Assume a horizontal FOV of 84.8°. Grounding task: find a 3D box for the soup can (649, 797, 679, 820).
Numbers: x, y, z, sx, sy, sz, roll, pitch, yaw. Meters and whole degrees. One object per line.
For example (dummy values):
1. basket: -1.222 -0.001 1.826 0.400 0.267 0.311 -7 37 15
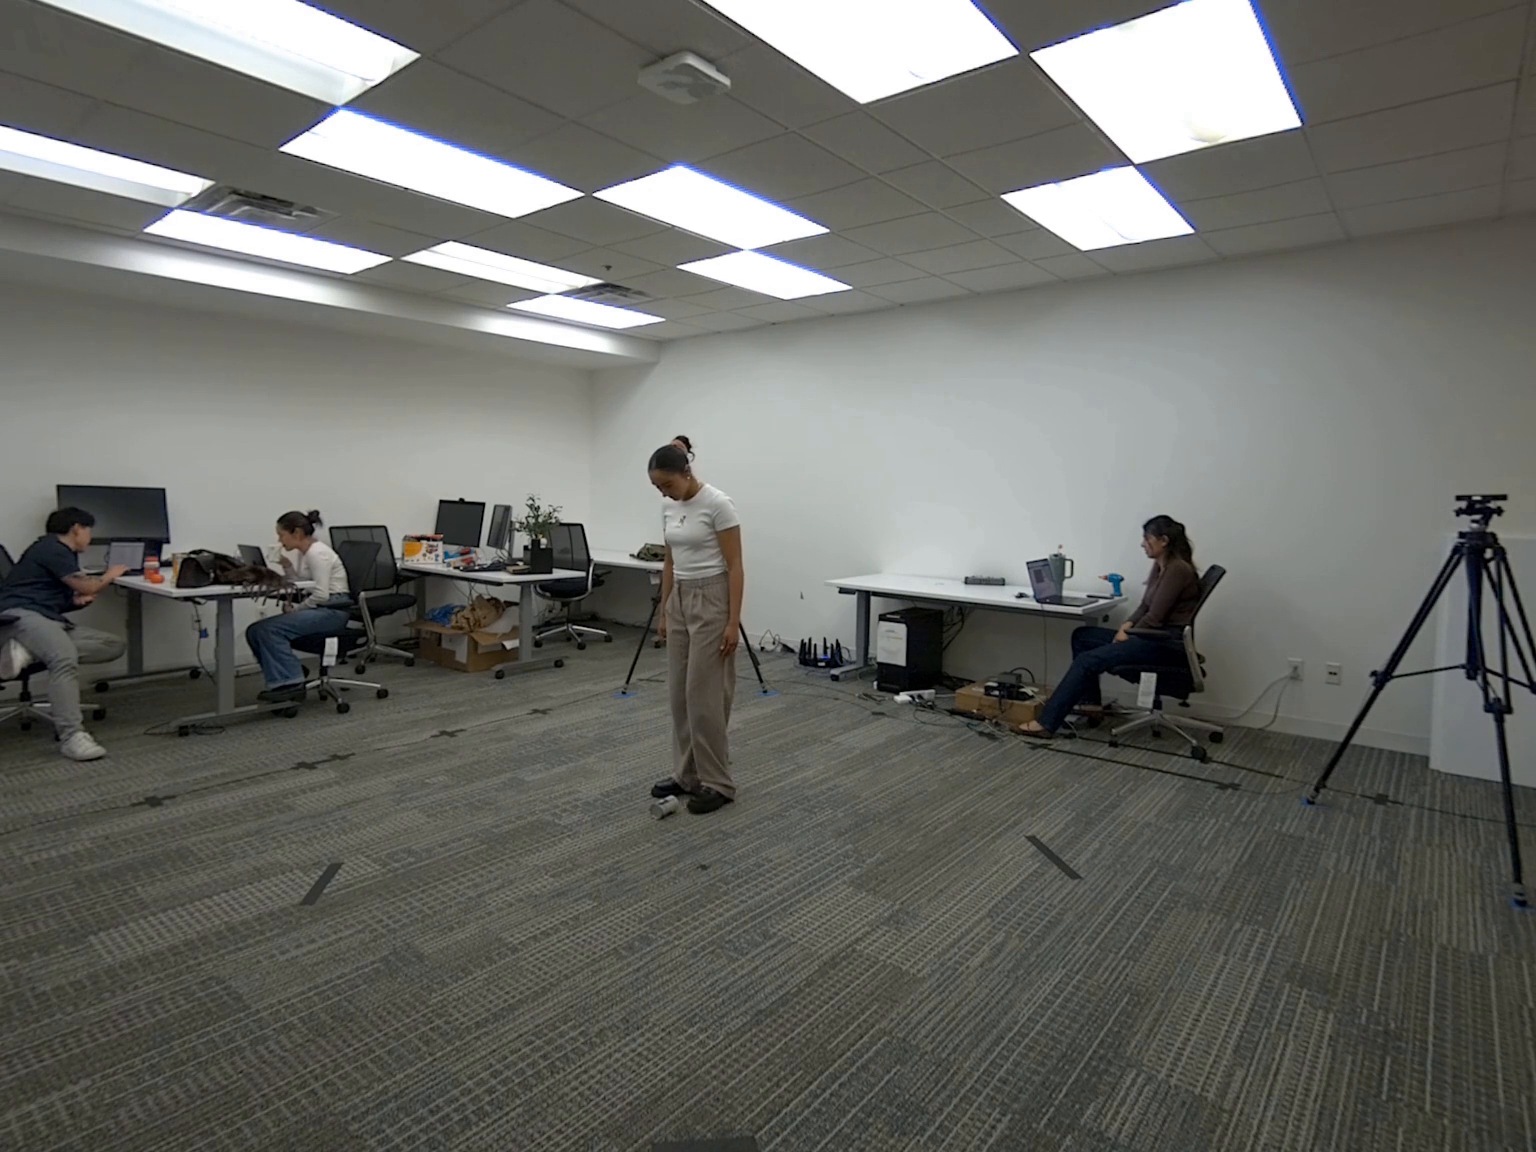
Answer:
1. soup can: -0.451 0.977 3.612 0.069 0.067 0.118 3 7 32
